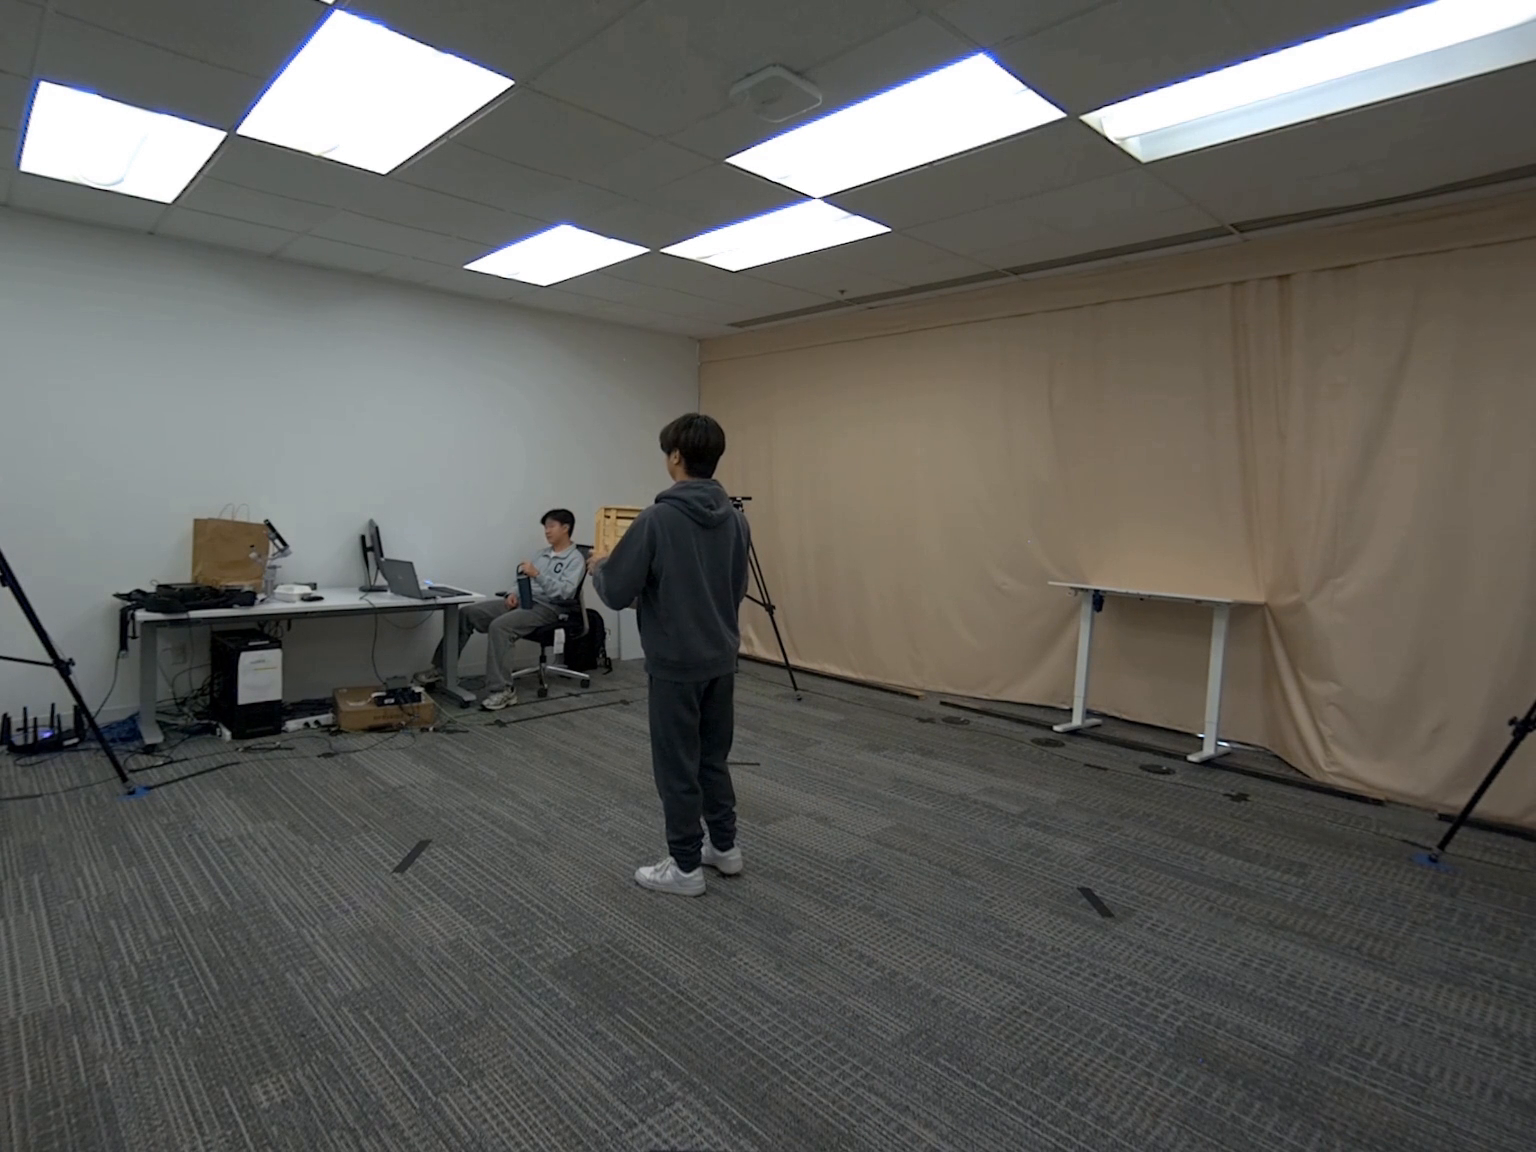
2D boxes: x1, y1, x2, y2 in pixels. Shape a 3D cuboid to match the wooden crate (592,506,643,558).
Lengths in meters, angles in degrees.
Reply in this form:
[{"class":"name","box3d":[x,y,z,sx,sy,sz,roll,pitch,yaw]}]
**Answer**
[{"class":"wooden crate","box3d":[-0.522,-0.064,3.215,0.300,0.331,0.270,3,-30,-8]}]
